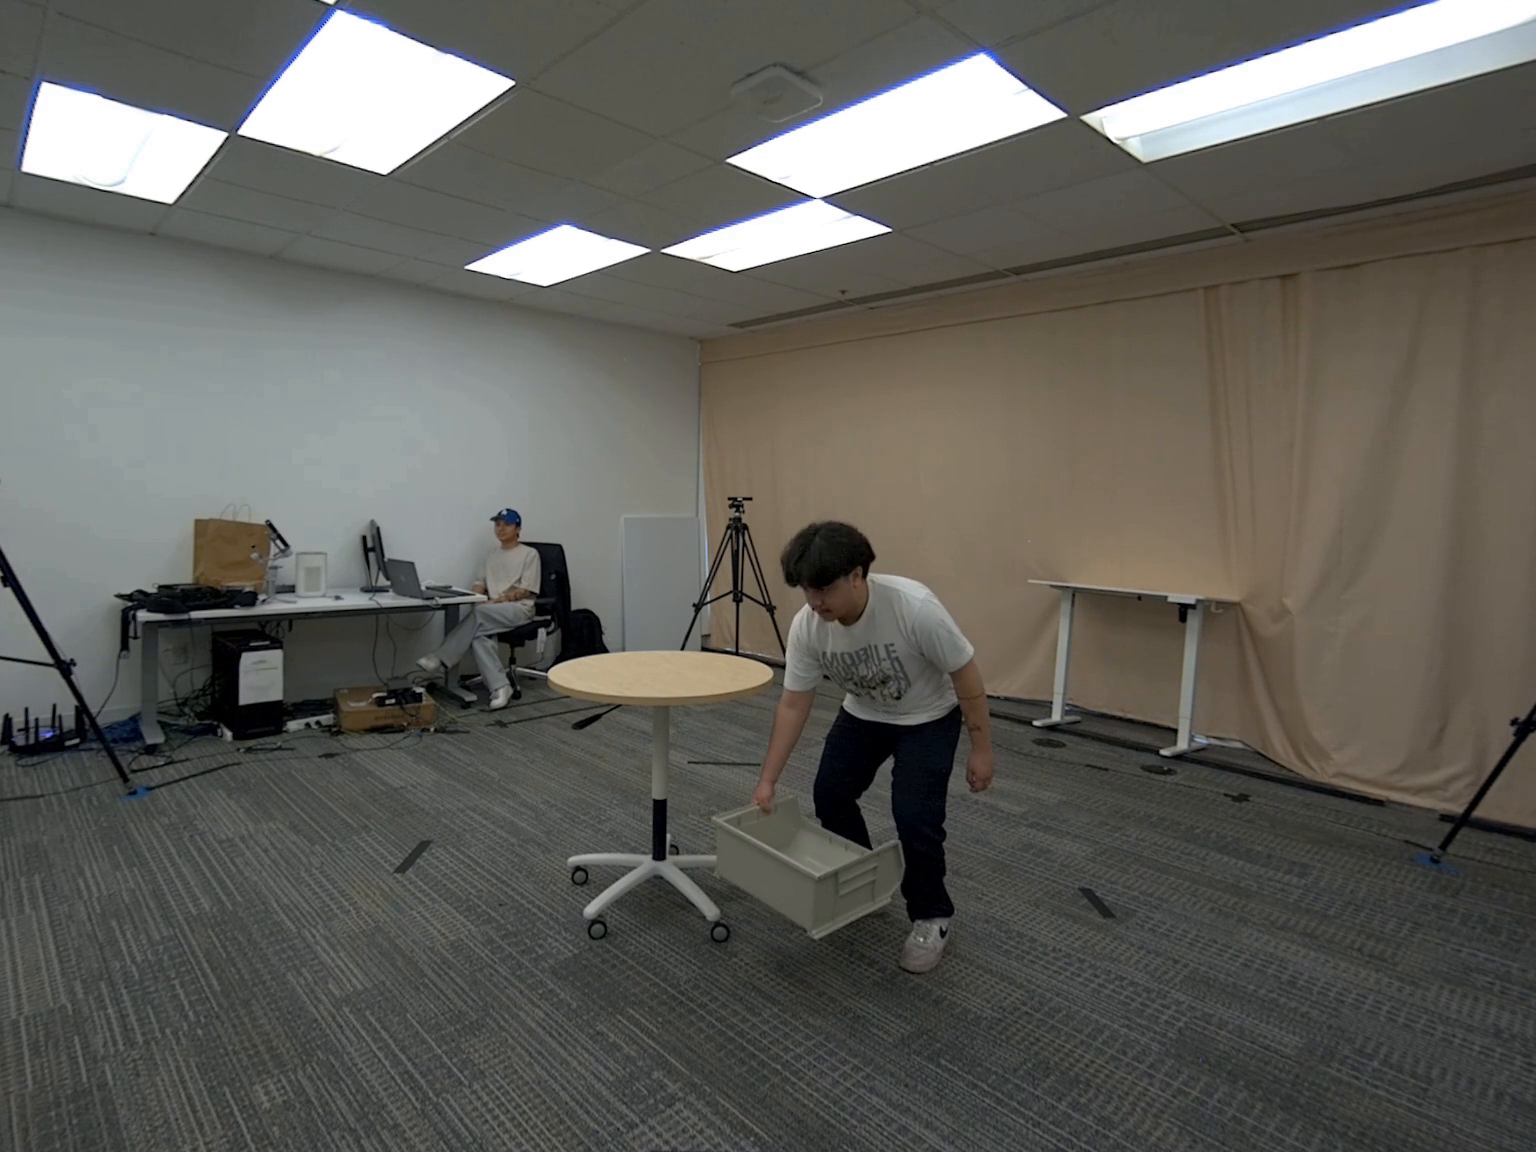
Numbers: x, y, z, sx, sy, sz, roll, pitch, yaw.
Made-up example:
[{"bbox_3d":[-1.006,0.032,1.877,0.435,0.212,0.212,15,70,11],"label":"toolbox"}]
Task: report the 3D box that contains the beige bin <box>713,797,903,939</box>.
[{"bbox_3d":[0.106,0.807,2.413,0.369,0.188,0.434,-6,12,-43],"label":"beige bin"}]
